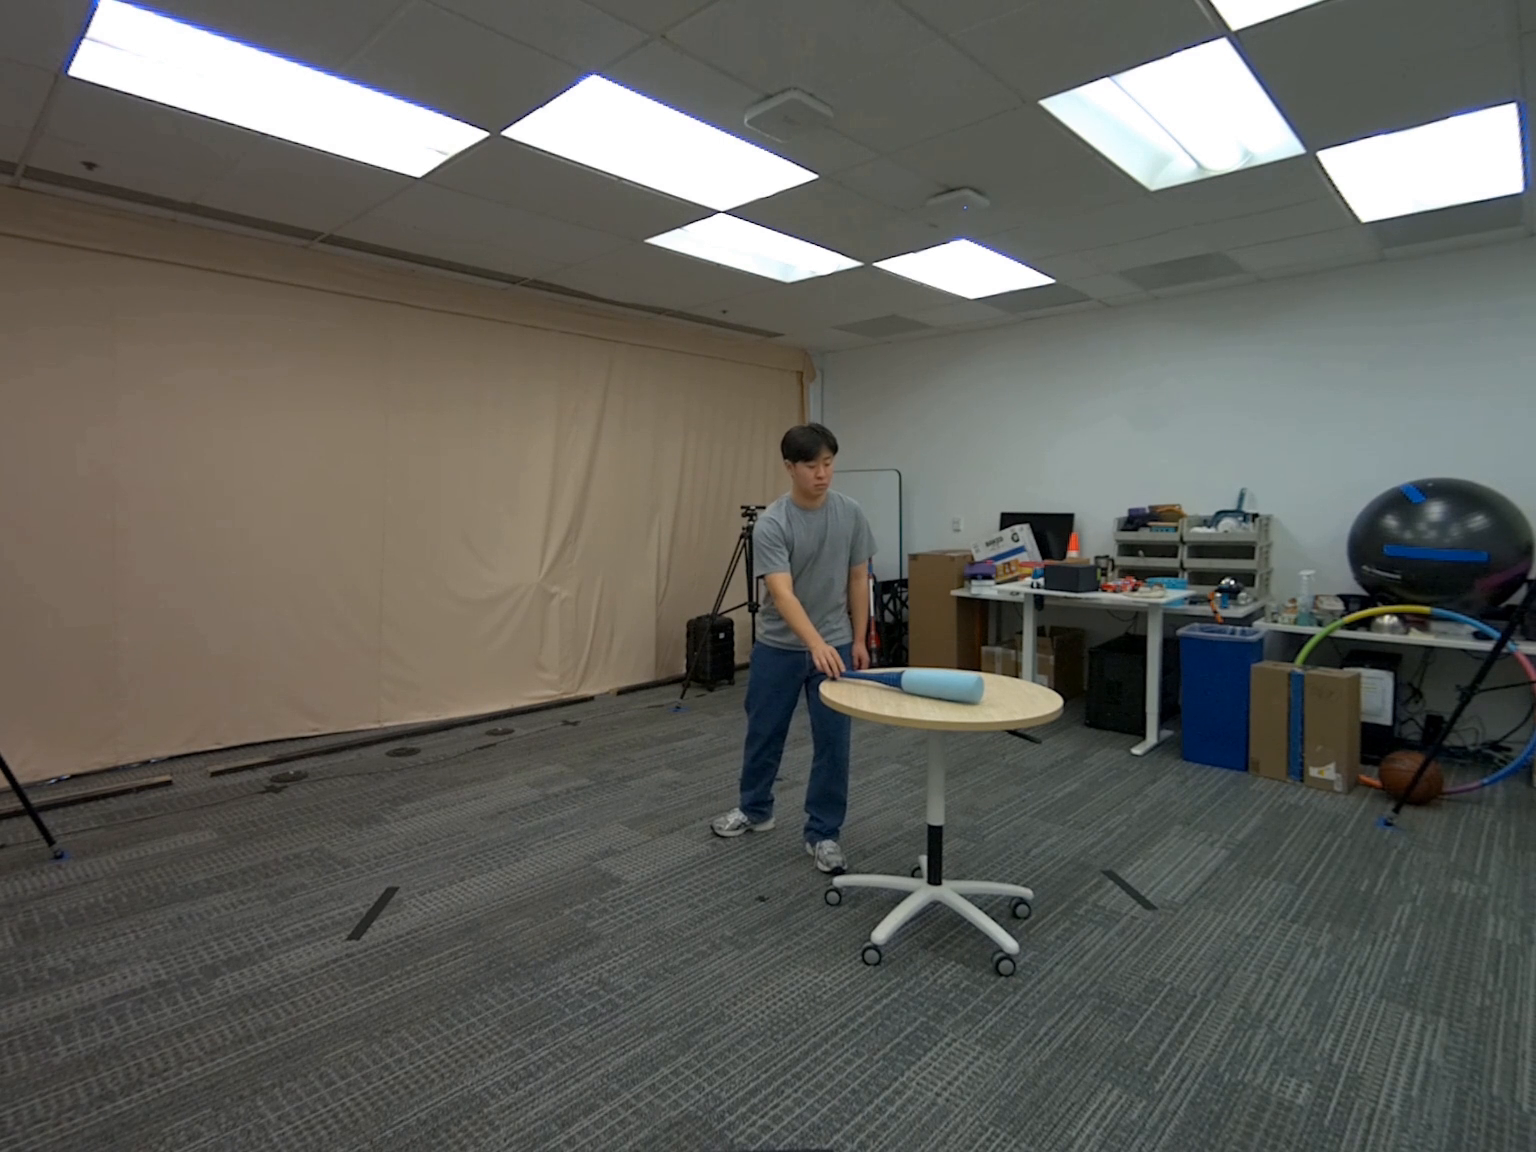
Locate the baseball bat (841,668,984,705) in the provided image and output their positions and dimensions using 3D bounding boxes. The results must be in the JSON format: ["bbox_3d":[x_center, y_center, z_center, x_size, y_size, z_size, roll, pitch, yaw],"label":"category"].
[{"bbox_3d":[0.430,0.343,2.740,0.560,0.089,0.086,1,4,38],"label":"baseball bat"}]
